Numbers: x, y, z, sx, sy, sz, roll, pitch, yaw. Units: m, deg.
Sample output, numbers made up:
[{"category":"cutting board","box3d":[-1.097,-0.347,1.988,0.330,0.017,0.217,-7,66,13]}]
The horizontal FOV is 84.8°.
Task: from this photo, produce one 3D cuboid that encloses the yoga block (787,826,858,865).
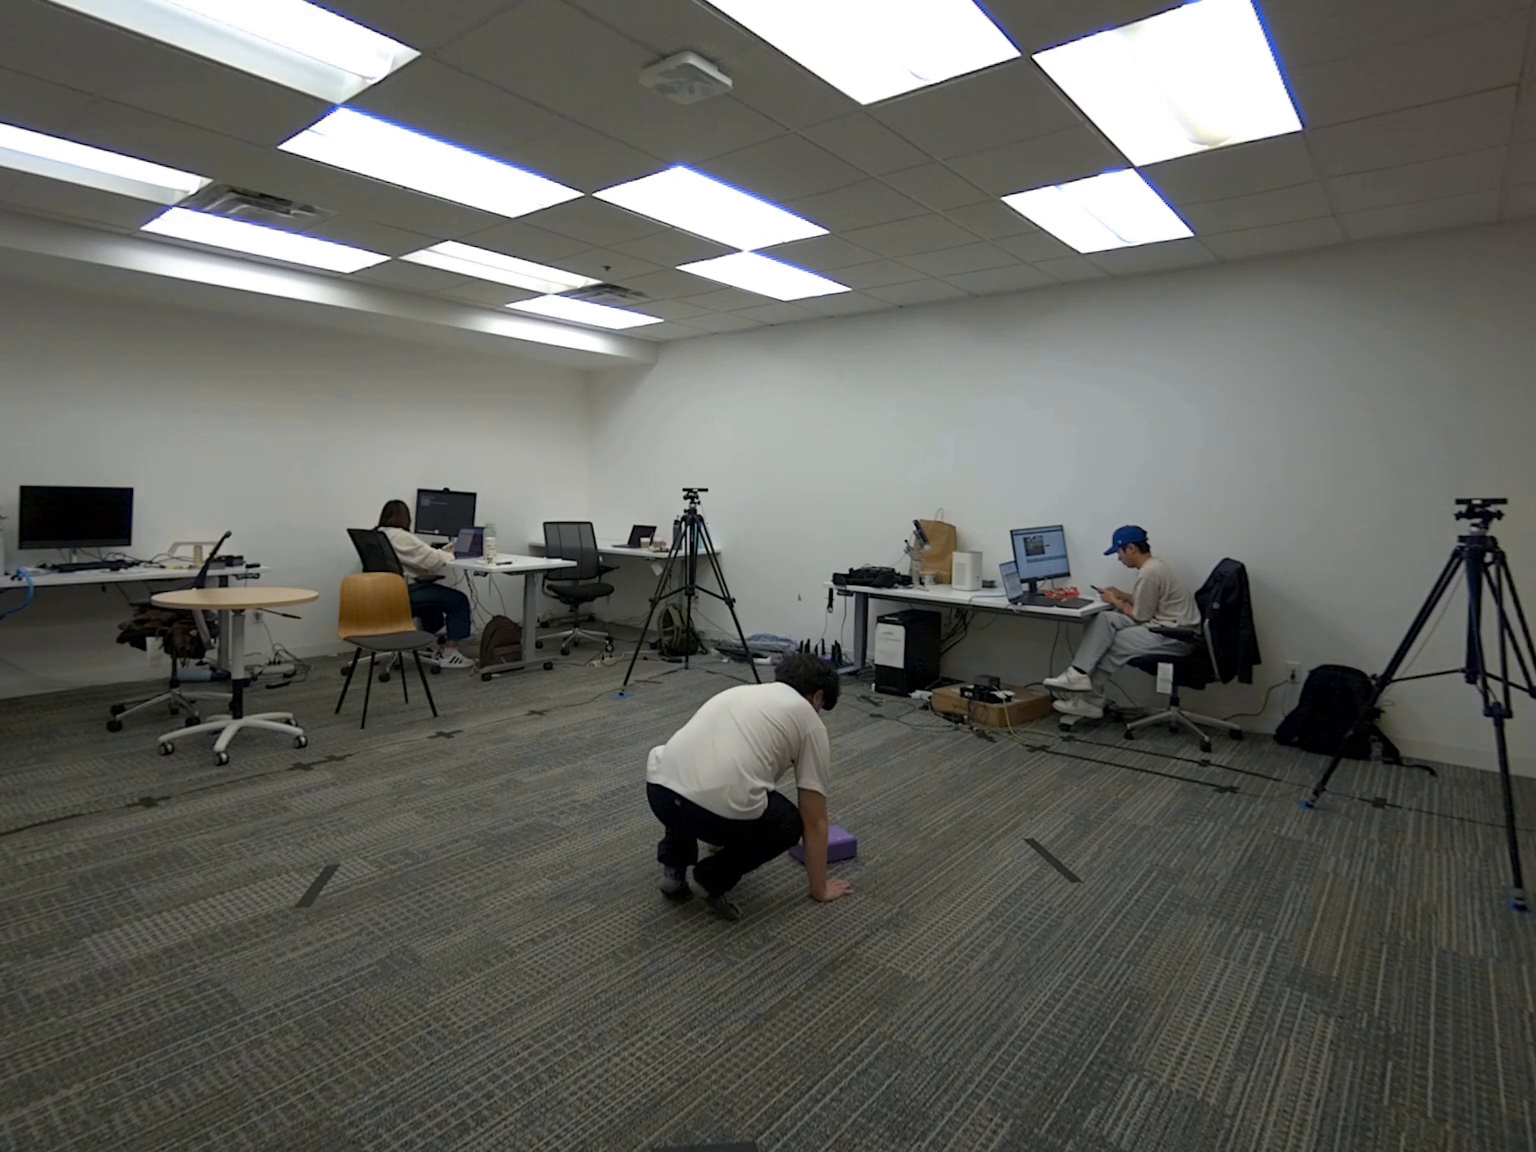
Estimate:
[{"category":"yoga block","box3d":[0.201,1.030,3.245,0.223,0.076,0.153,-2,6,-29]}]
